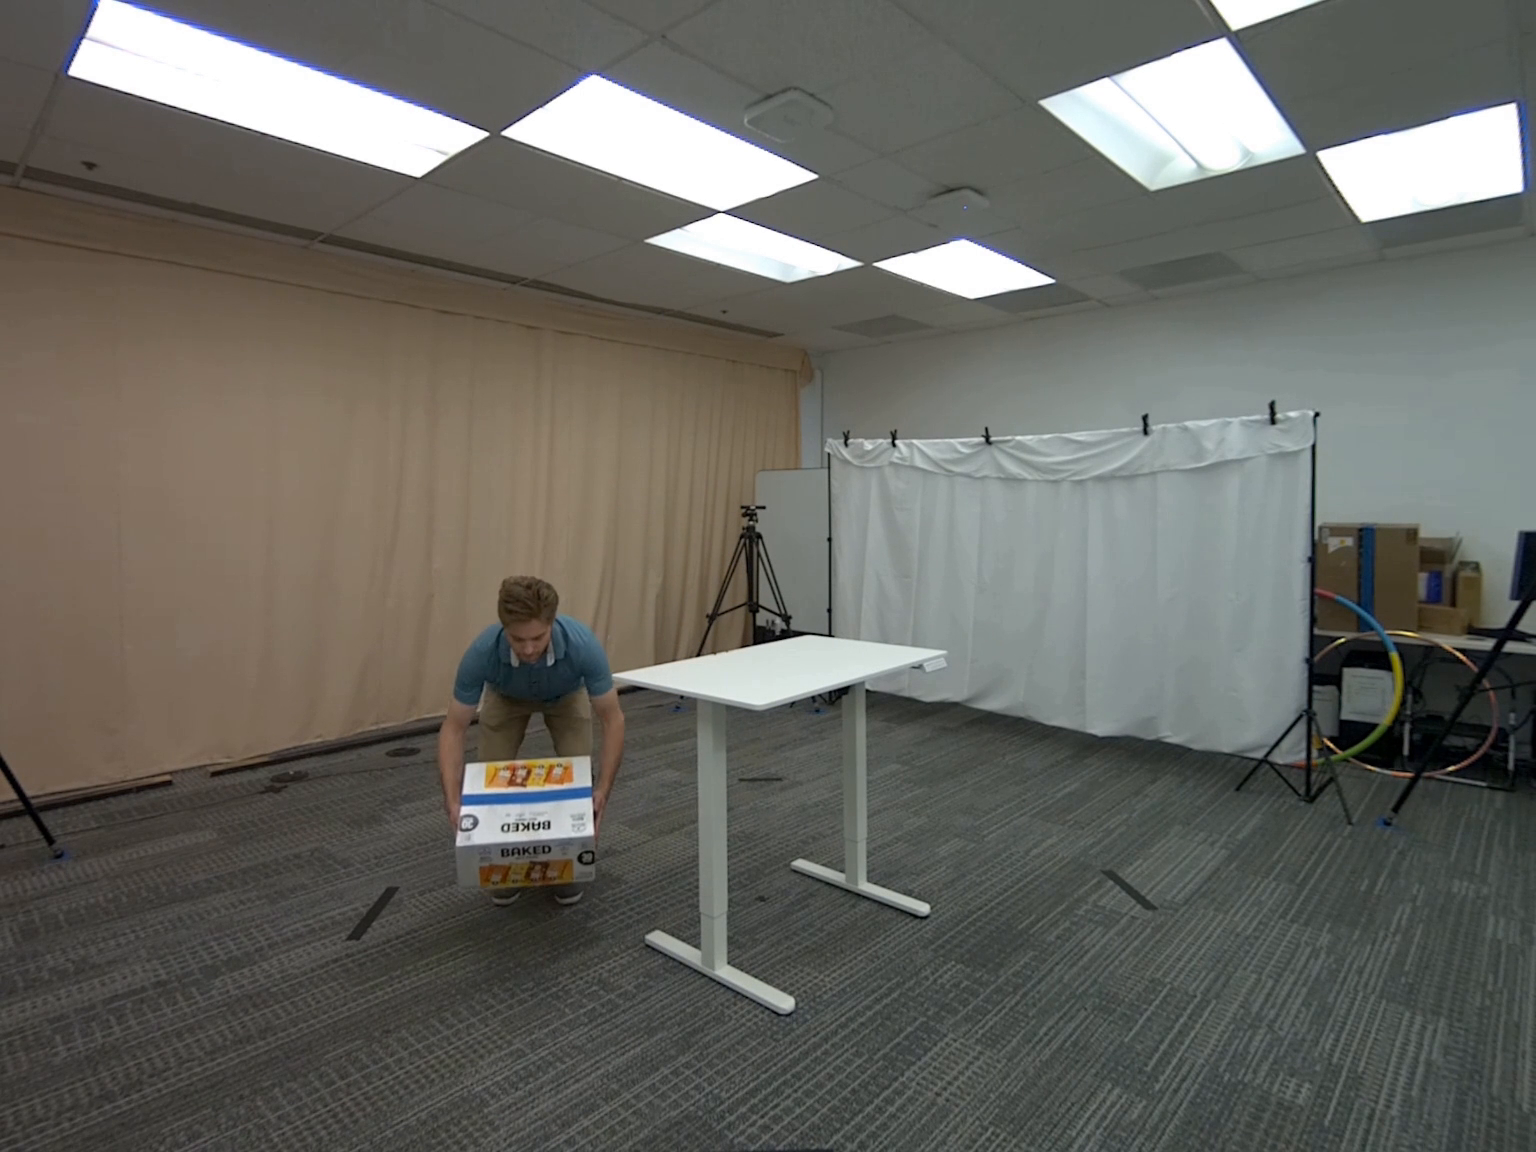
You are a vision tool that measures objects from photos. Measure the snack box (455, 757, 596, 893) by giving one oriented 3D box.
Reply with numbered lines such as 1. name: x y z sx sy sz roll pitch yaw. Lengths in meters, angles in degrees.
1. snack box: -0.754 0.771 2.655 0.400 0.203 0.349 -2 29 -12
